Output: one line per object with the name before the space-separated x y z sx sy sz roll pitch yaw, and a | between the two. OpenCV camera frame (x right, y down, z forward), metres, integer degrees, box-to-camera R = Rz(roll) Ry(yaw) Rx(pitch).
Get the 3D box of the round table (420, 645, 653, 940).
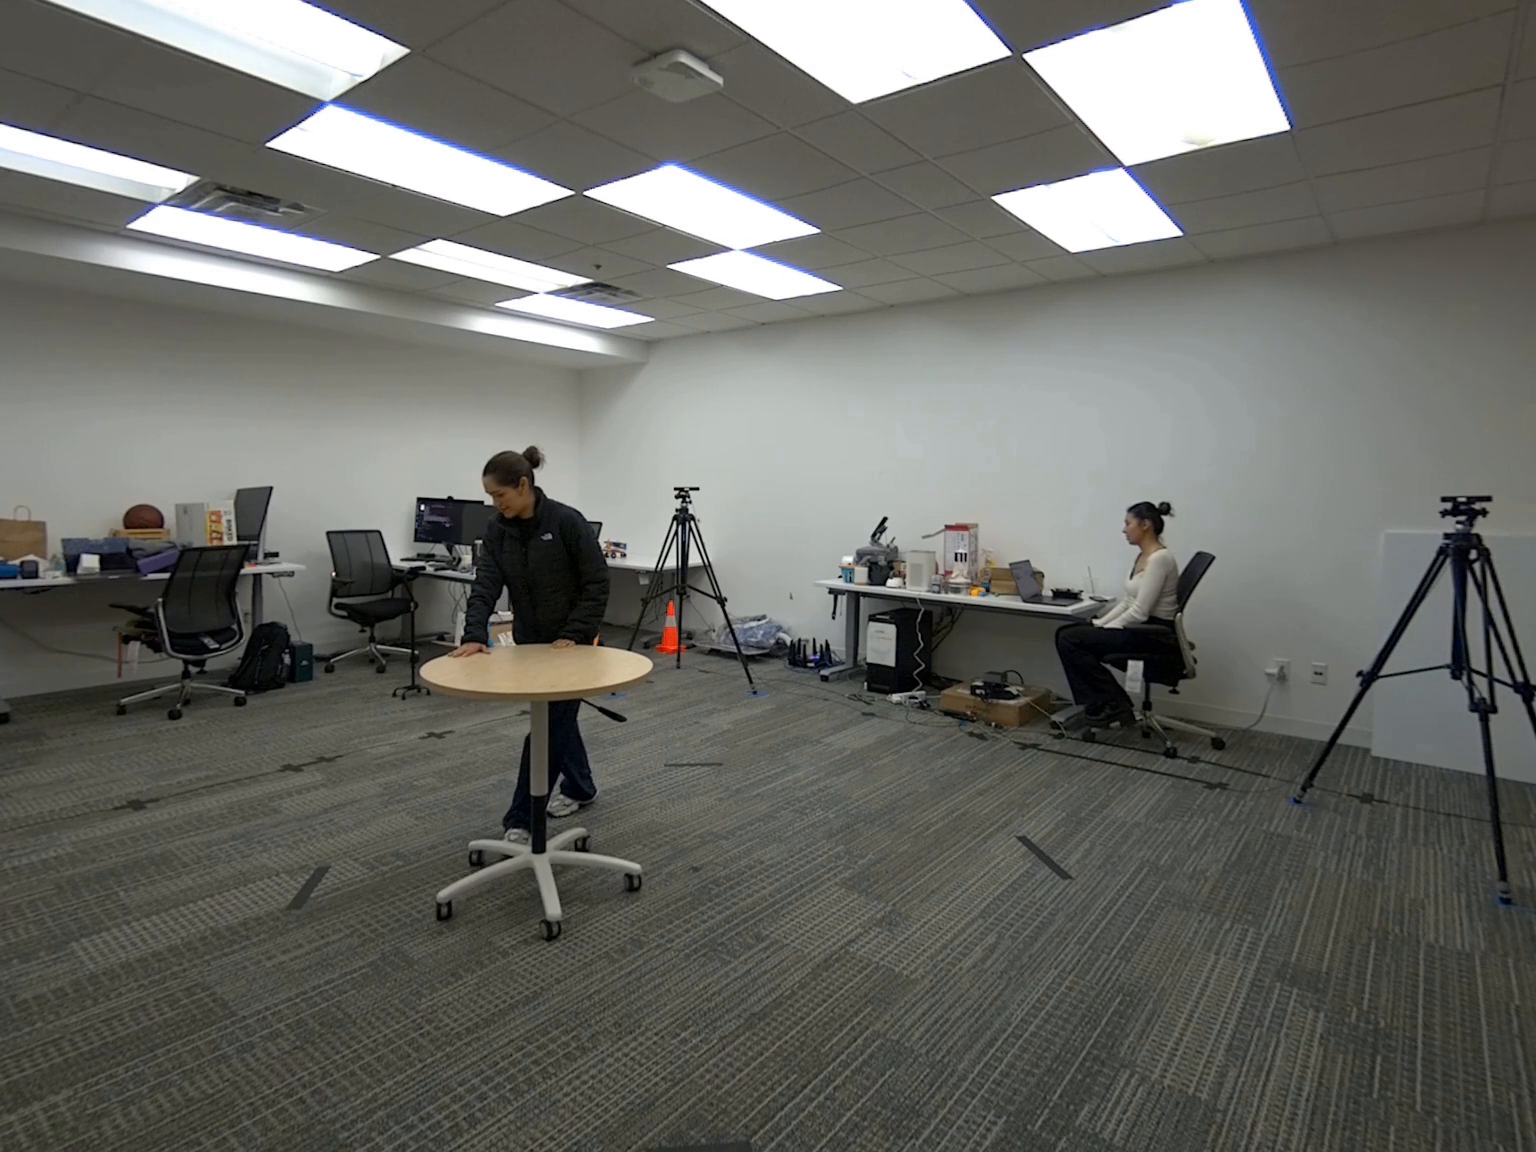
round table | -0.780 0.683 2.928 0.784 0.784 0.789 1 4 -2
